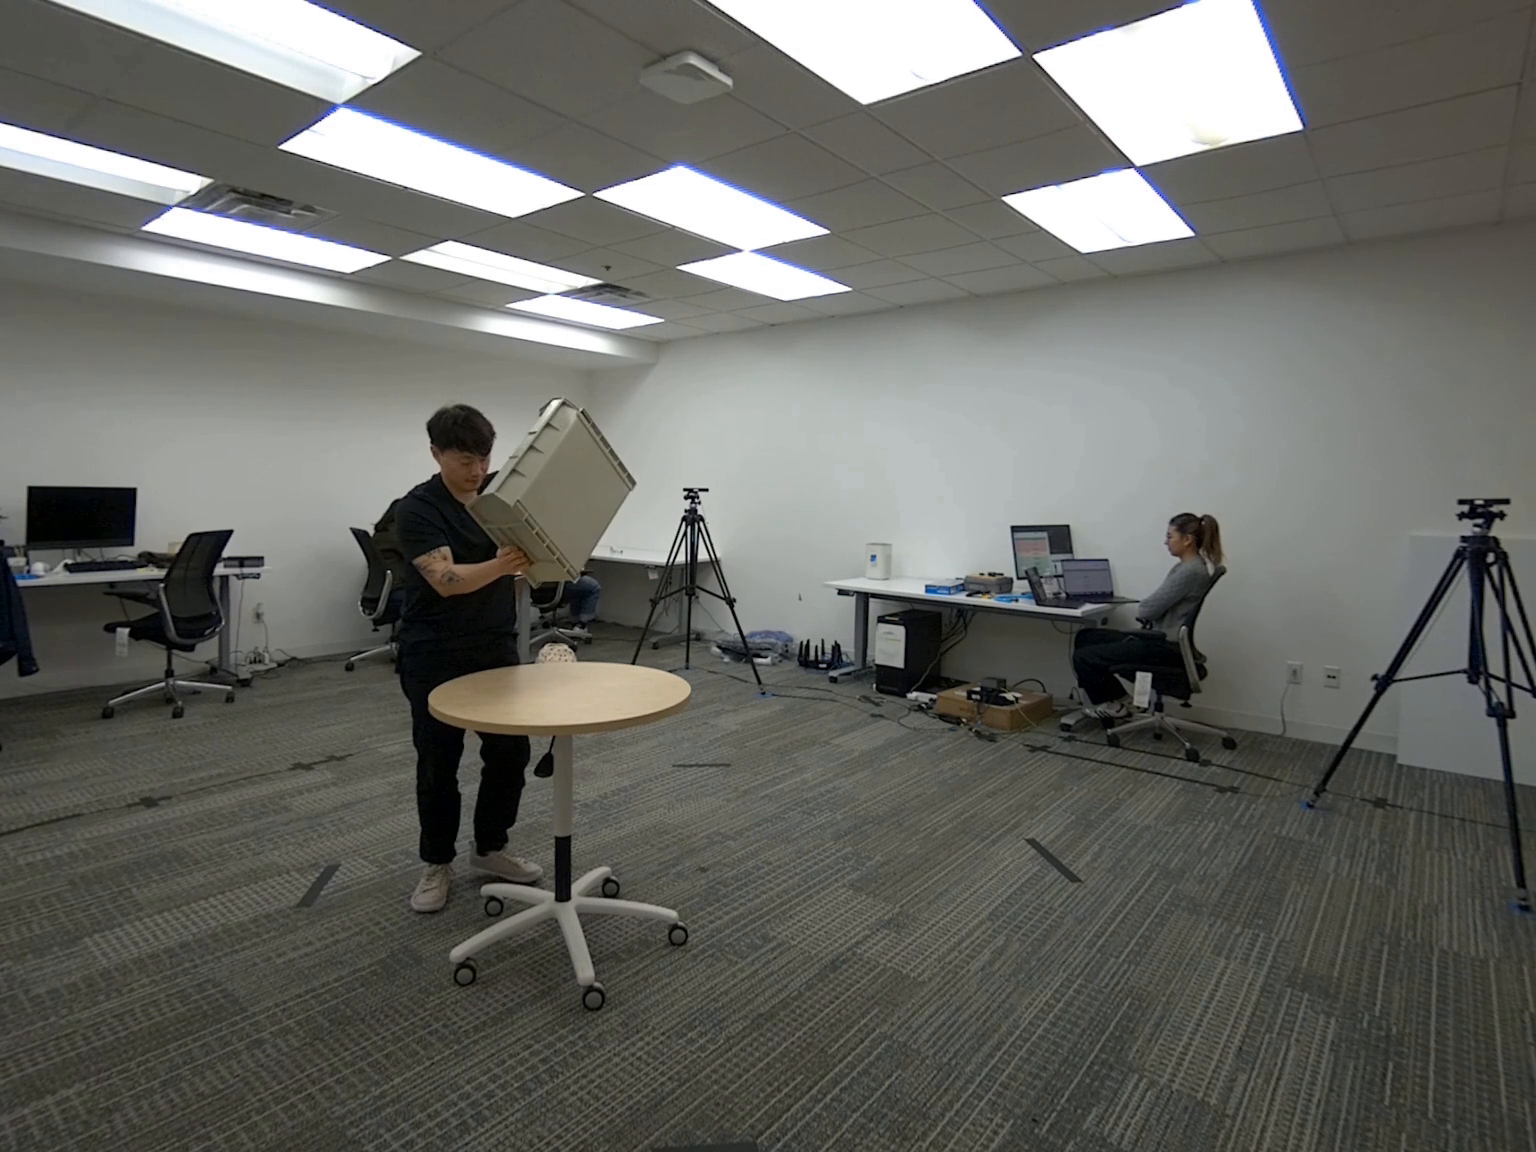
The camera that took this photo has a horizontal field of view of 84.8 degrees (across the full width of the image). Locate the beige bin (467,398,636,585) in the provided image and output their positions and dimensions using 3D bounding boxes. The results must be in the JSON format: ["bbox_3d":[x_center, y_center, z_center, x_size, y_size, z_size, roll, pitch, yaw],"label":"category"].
[{"bbox_3d":[-0.631,-0.236,2.499,0.194,0.427,0.363,-4,-44,34],"label":"beige bin"}]
